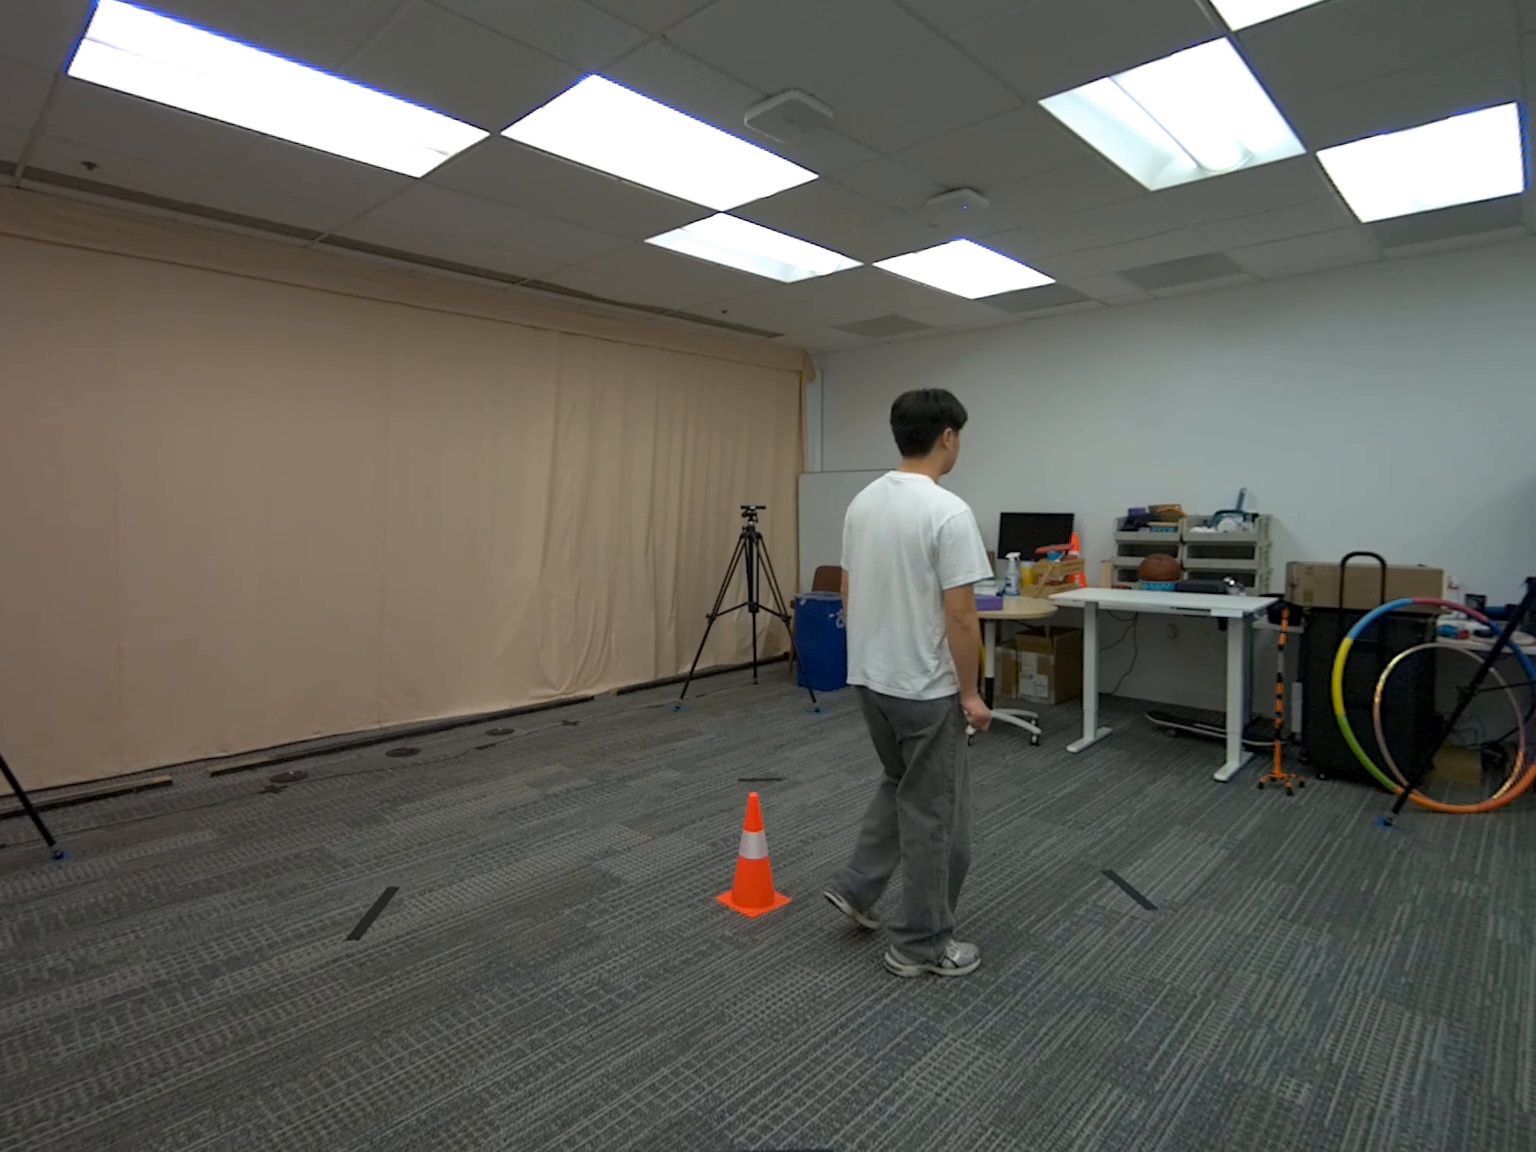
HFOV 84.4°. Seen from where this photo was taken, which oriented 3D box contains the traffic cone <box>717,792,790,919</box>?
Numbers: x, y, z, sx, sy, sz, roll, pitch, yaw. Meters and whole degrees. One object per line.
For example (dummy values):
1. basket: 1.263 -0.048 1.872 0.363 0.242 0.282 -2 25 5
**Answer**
1. traffic cone: -0.040 0.962 2.965 0.210 0.383 0.198 5 6 44
